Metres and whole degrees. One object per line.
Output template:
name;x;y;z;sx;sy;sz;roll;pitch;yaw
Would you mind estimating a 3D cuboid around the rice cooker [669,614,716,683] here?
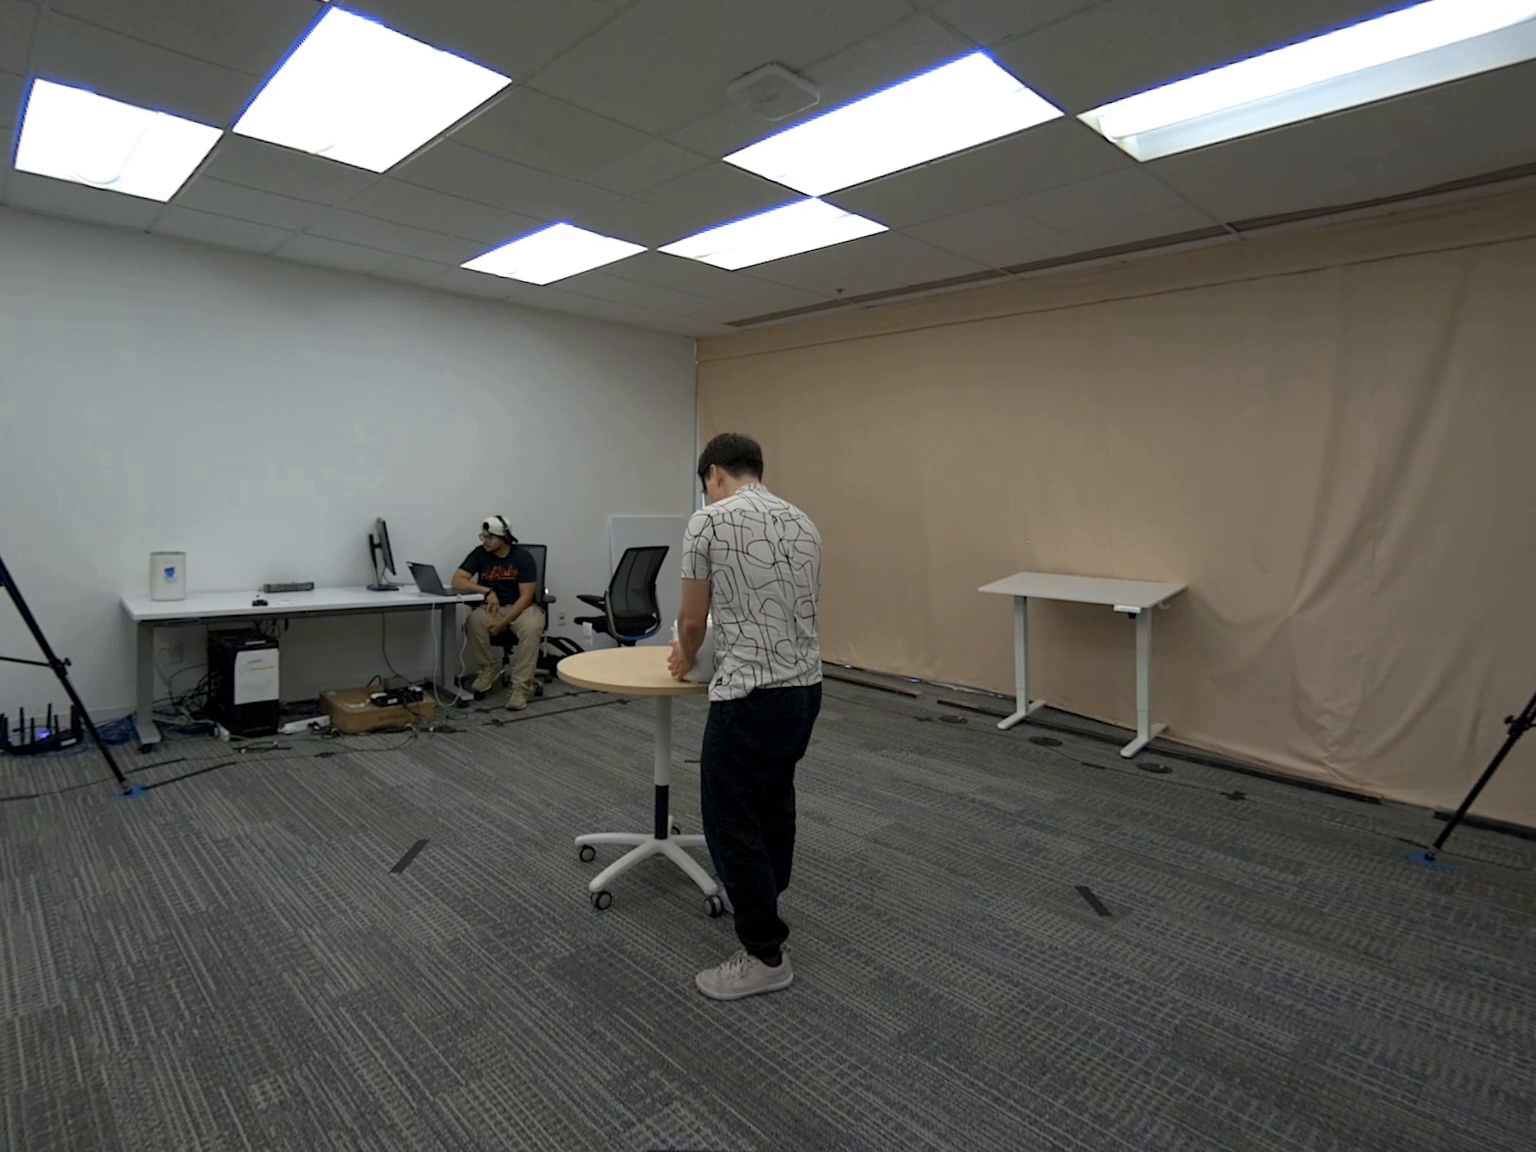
rice cooker;-0.217;0.230;2.820;0.216;0.232;0.223;-2;5;-37
